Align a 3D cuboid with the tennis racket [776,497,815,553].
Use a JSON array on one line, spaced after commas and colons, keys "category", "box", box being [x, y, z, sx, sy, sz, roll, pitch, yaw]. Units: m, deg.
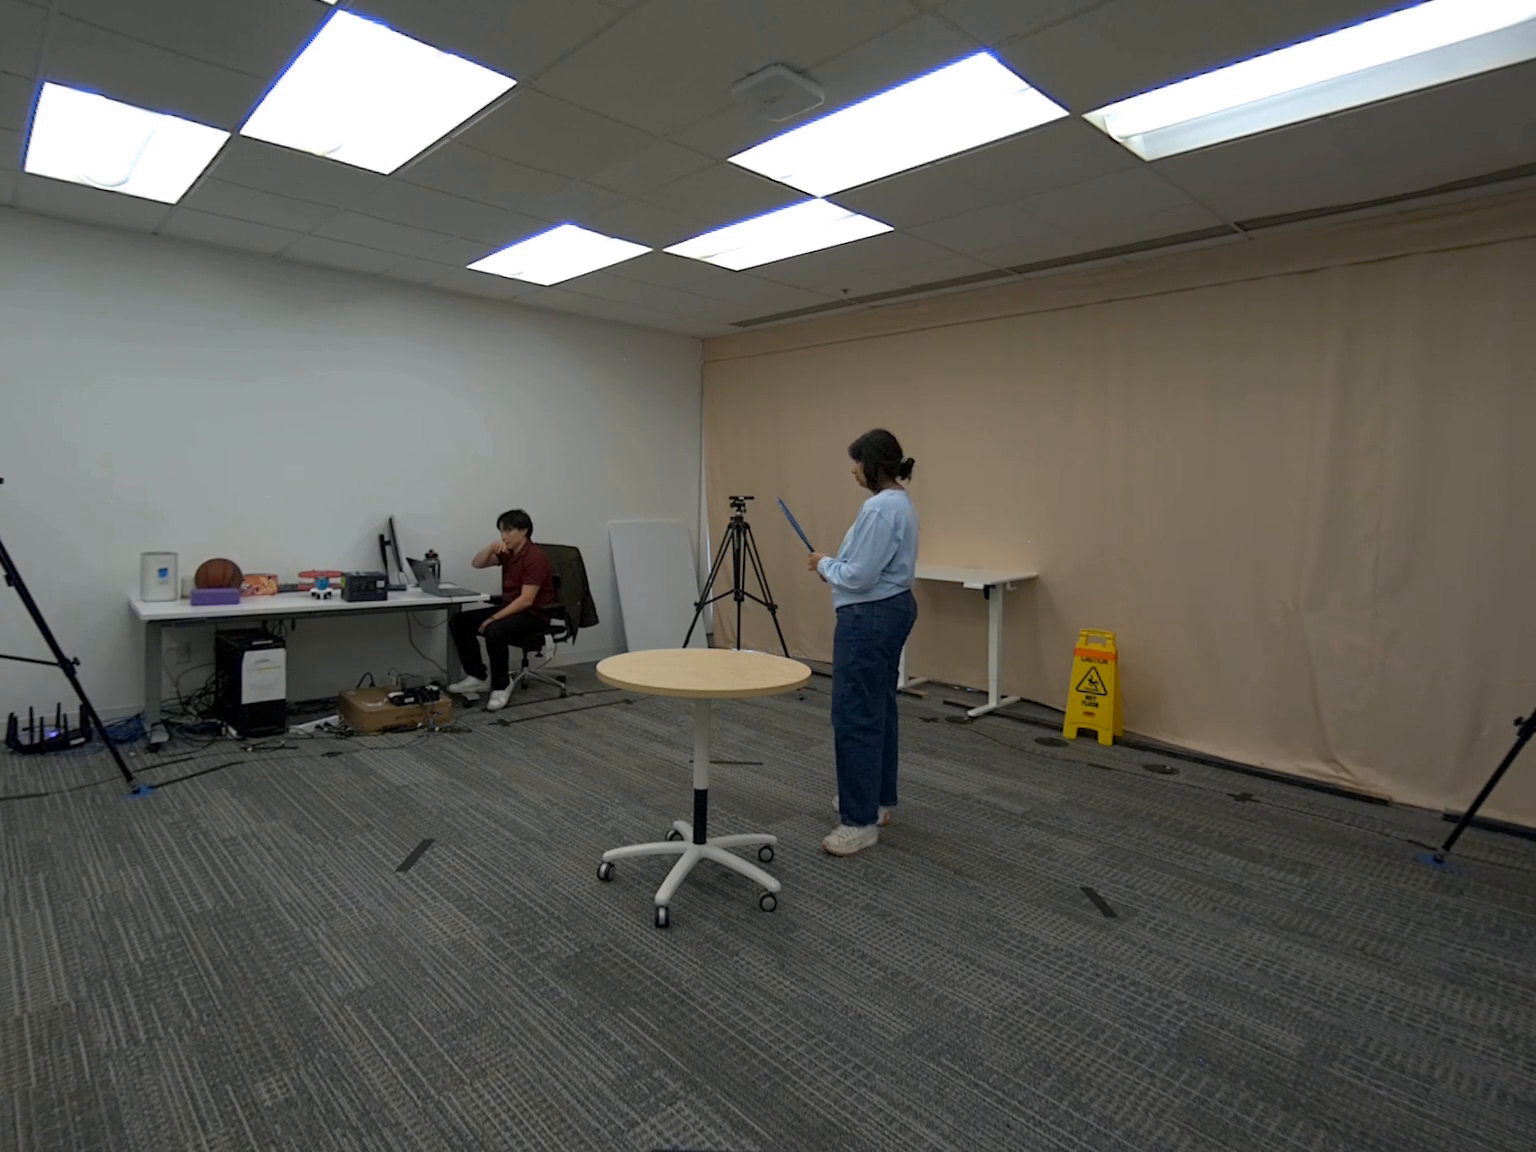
[{"category": "tennis racket", "box": [0.164, -0.161, 3.690, 0.032, 0.433, 0.213, -34, -1, 10]}]
